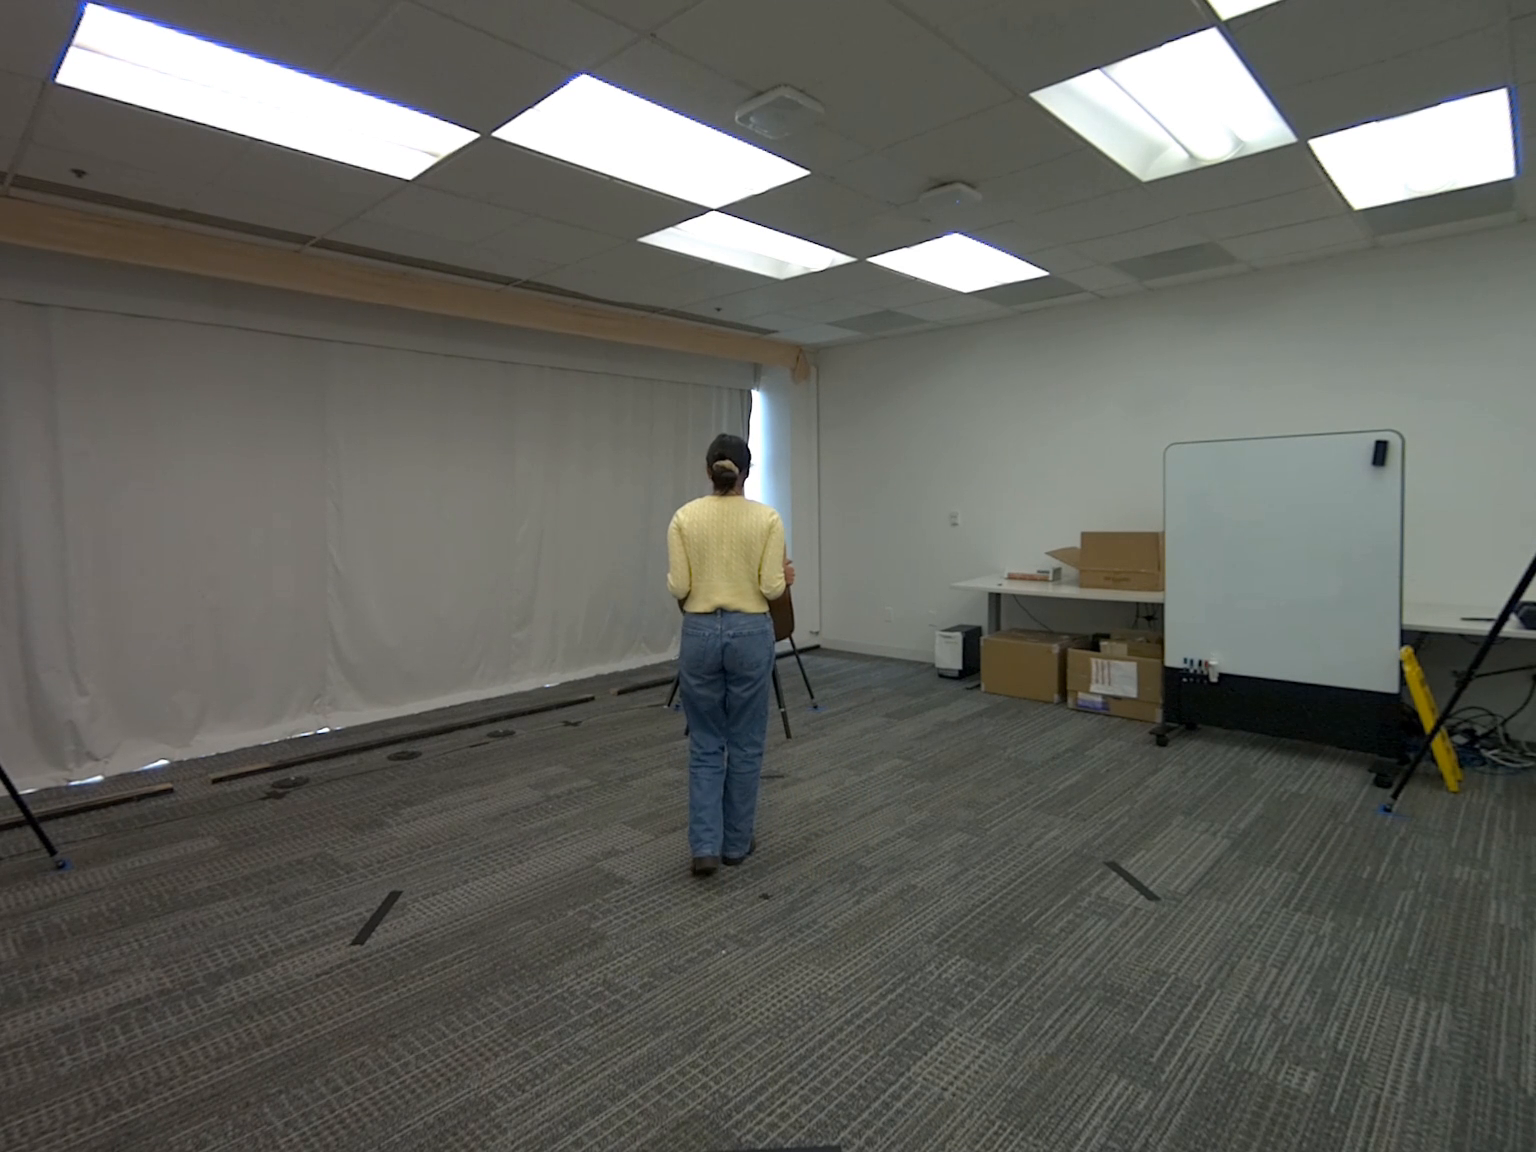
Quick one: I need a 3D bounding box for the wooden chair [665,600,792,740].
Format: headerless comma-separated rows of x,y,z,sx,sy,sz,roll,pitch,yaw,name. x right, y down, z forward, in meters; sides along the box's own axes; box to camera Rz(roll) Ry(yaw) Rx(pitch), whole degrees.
-0.138,0.207,3.504,0.482,0.888,0.512,-2,-22,7,wooden chair
